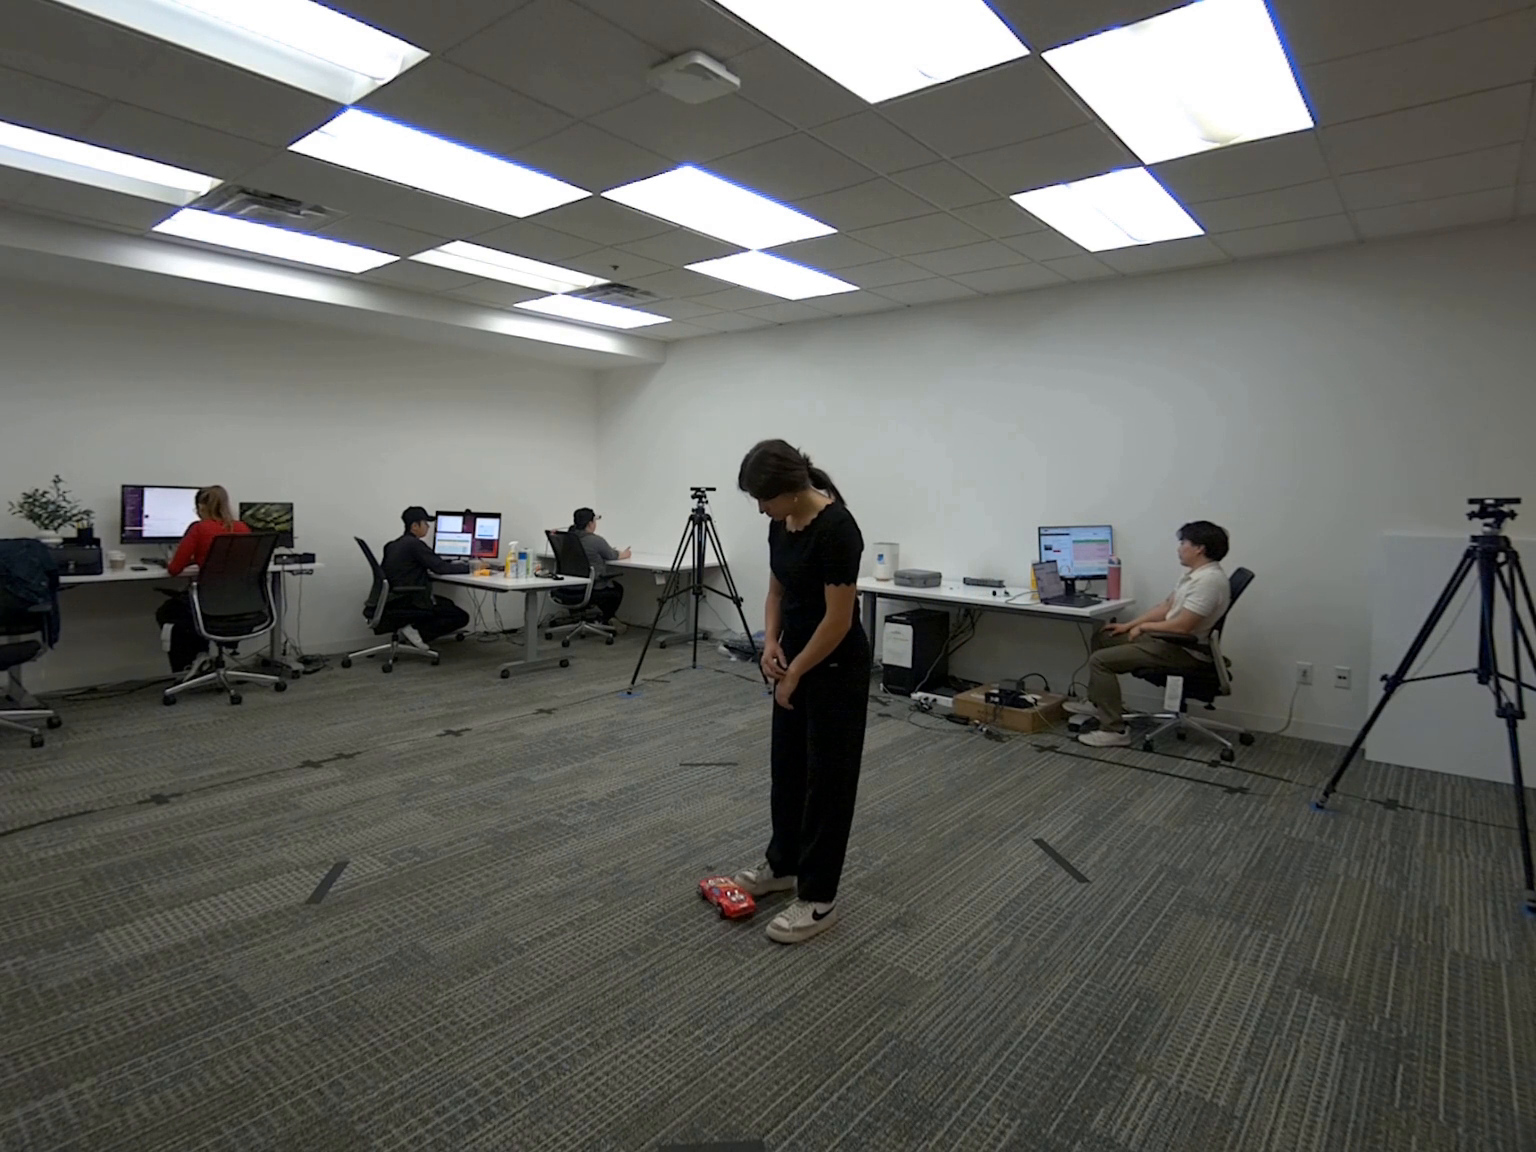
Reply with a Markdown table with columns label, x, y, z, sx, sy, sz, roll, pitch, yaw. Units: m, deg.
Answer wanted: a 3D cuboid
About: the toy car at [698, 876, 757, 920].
| label | x | y | z | sx | sy | sz | roll | pitch | yaw |
| --- | --- | --- | --- | --- | --- | --- | --- | --- | --- |
| toy car | -0.155 | 1.060 | 2.813 | 0.127 | 0.083 | 0.260 | -3 | -3 | -29 |
